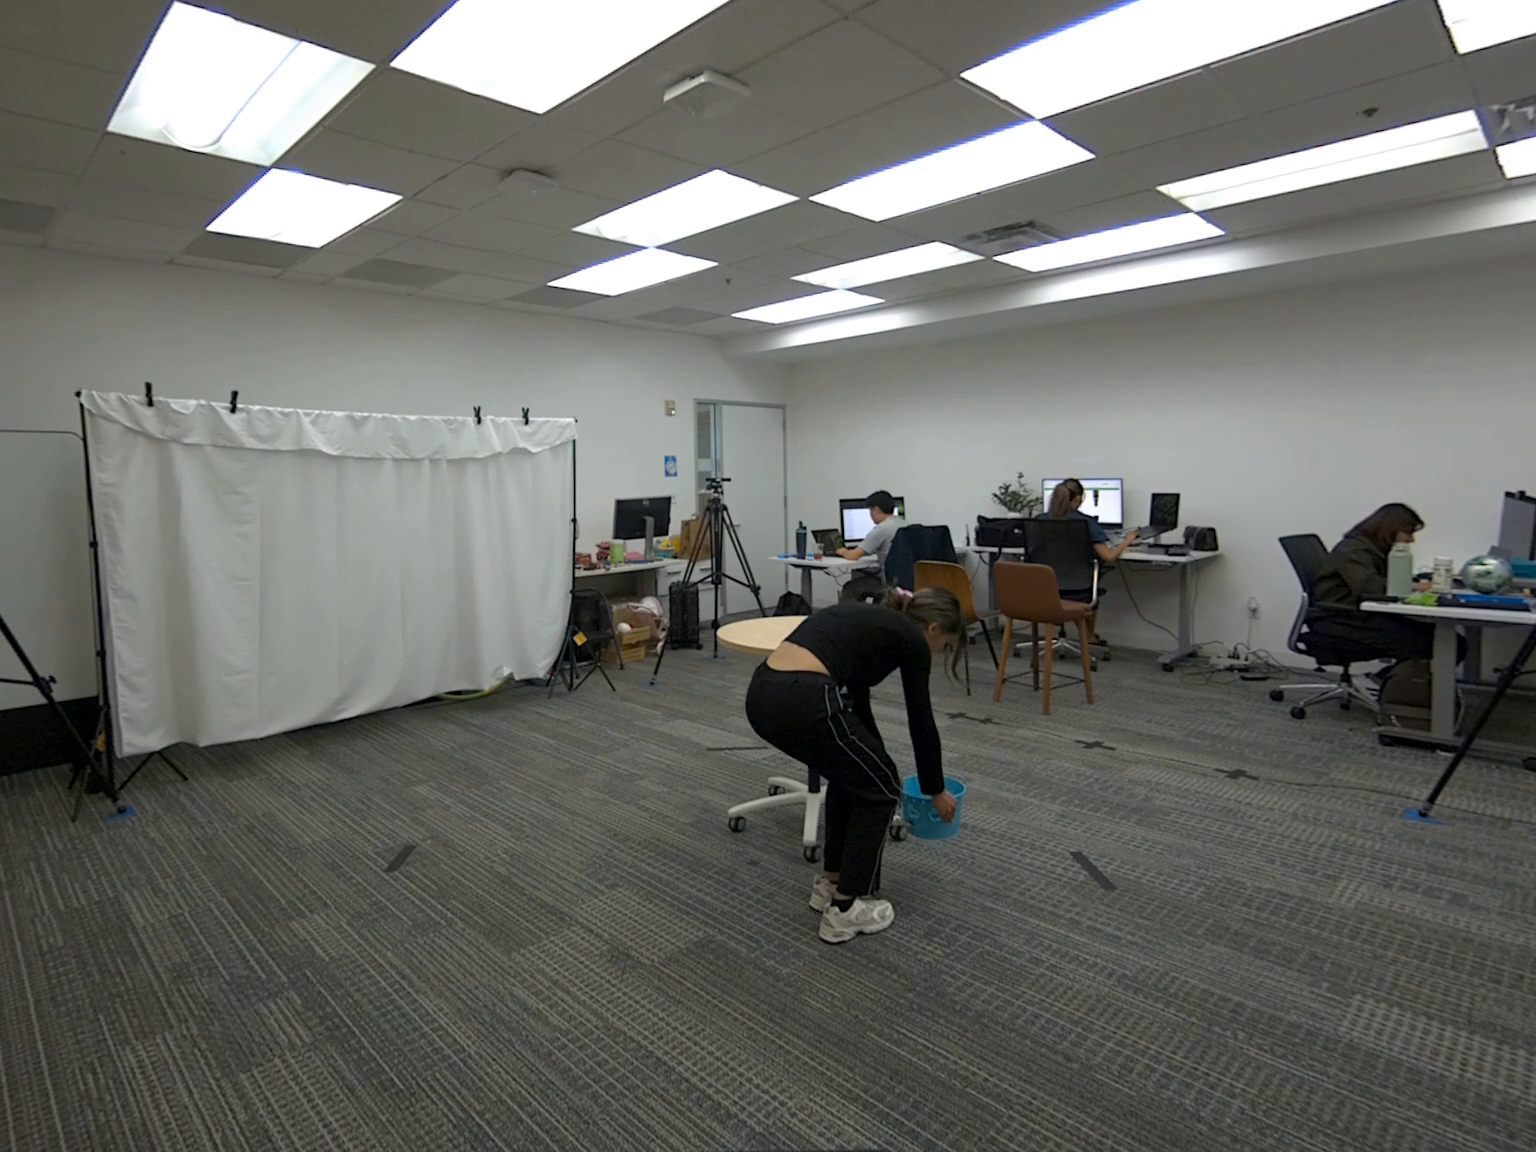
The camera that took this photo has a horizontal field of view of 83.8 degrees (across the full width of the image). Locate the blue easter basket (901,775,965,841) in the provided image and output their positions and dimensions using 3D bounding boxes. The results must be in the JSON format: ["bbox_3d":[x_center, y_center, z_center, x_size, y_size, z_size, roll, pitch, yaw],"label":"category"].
[{"bbox_3d":[0.570,0.799,2.950,0.243,0.155,0.245,-3,6,-1],"label":"blue easter basket"}]
